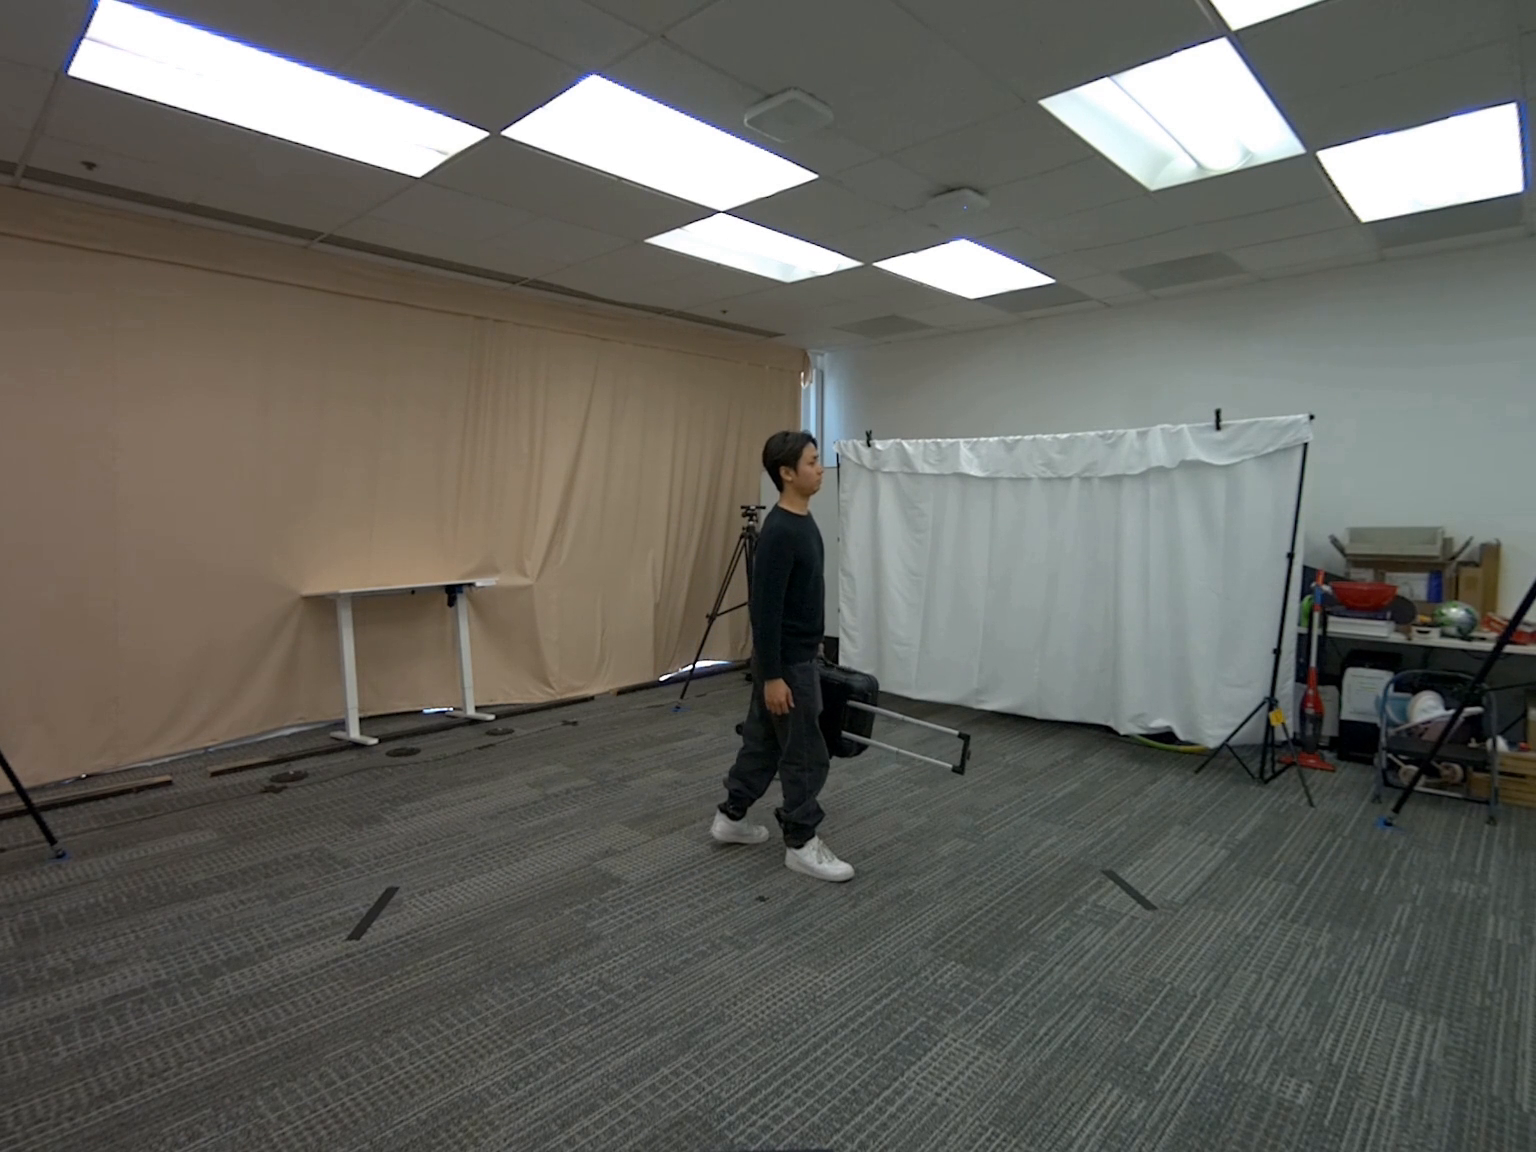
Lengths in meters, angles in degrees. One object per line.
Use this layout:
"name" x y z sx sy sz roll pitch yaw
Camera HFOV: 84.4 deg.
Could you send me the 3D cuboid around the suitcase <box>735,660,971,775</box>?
"suitcase" 0.363 0.579 3.506 1.007 0.384 0.250 10 2 28
